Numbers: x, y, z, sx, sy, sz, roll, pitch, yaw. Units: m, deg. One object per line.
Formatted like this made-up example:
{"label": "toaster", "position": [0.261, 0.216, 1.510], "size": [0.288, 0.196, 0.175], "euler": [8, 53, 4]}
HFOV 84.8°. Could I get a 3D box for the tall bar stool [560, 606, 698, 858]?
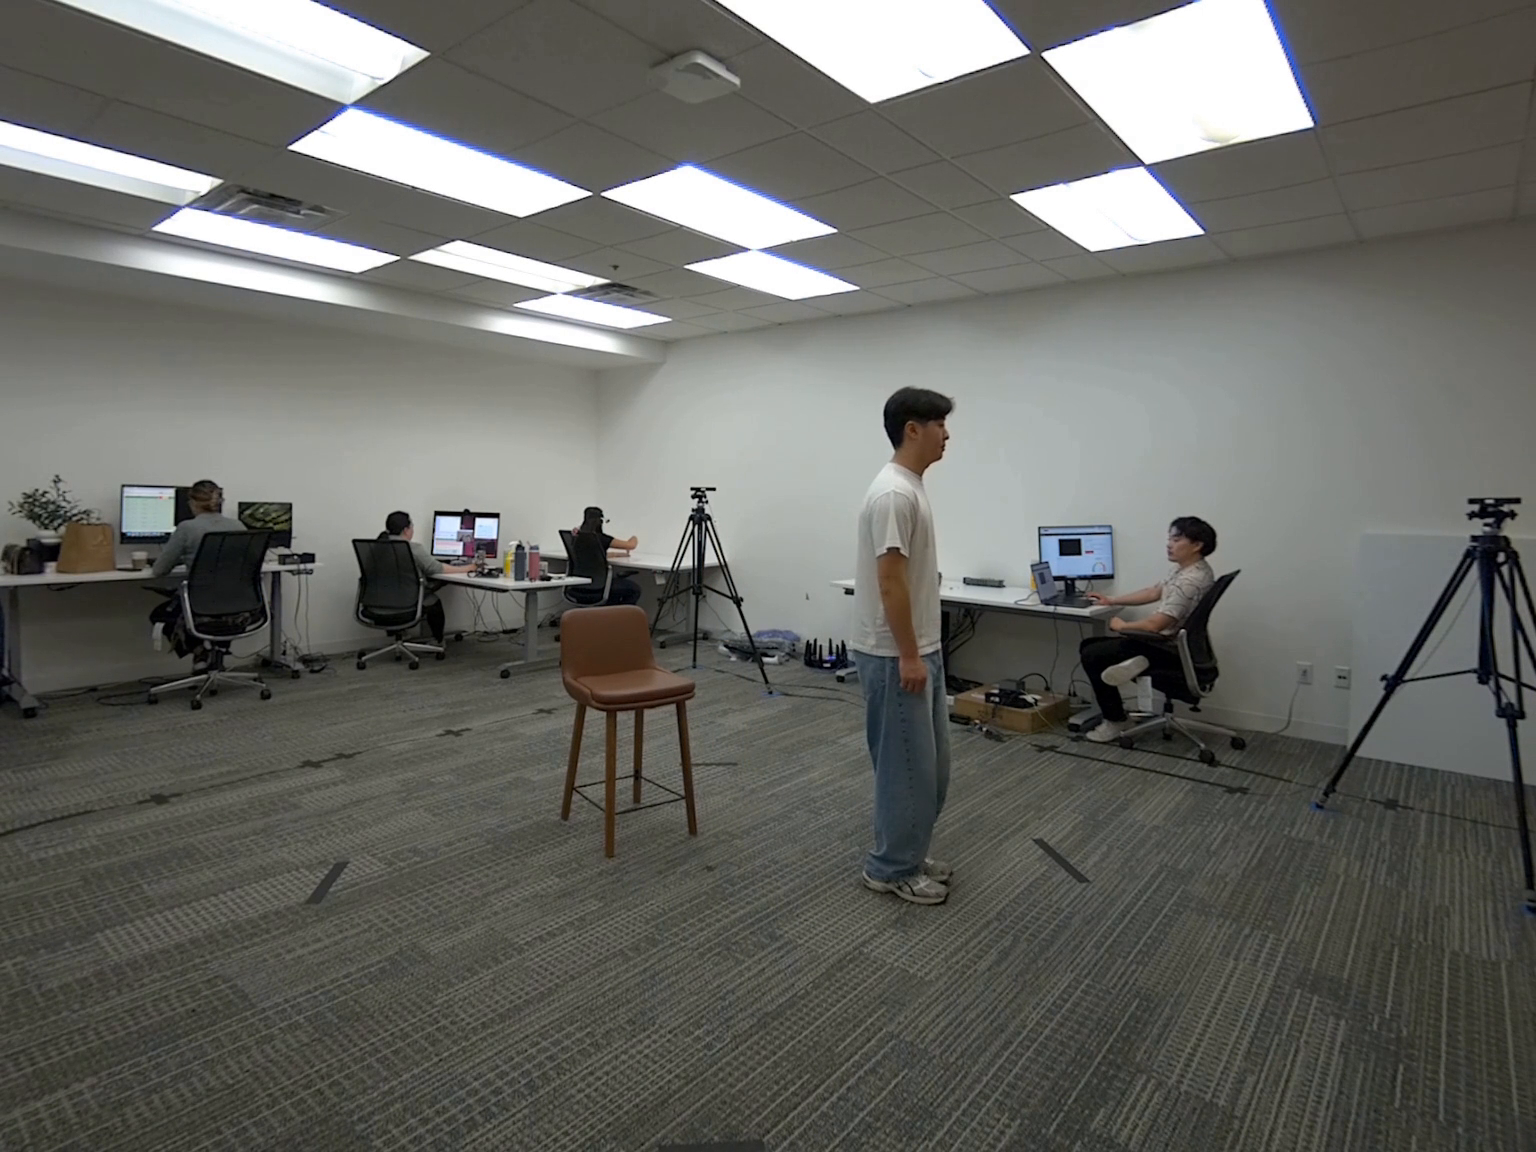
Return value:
{"label": "tall bar stool", "position": [-0.591, 0.588, 3.462], "size": [0.443, 0.888, 0.482], "euler": [-1, 2, -38]}
